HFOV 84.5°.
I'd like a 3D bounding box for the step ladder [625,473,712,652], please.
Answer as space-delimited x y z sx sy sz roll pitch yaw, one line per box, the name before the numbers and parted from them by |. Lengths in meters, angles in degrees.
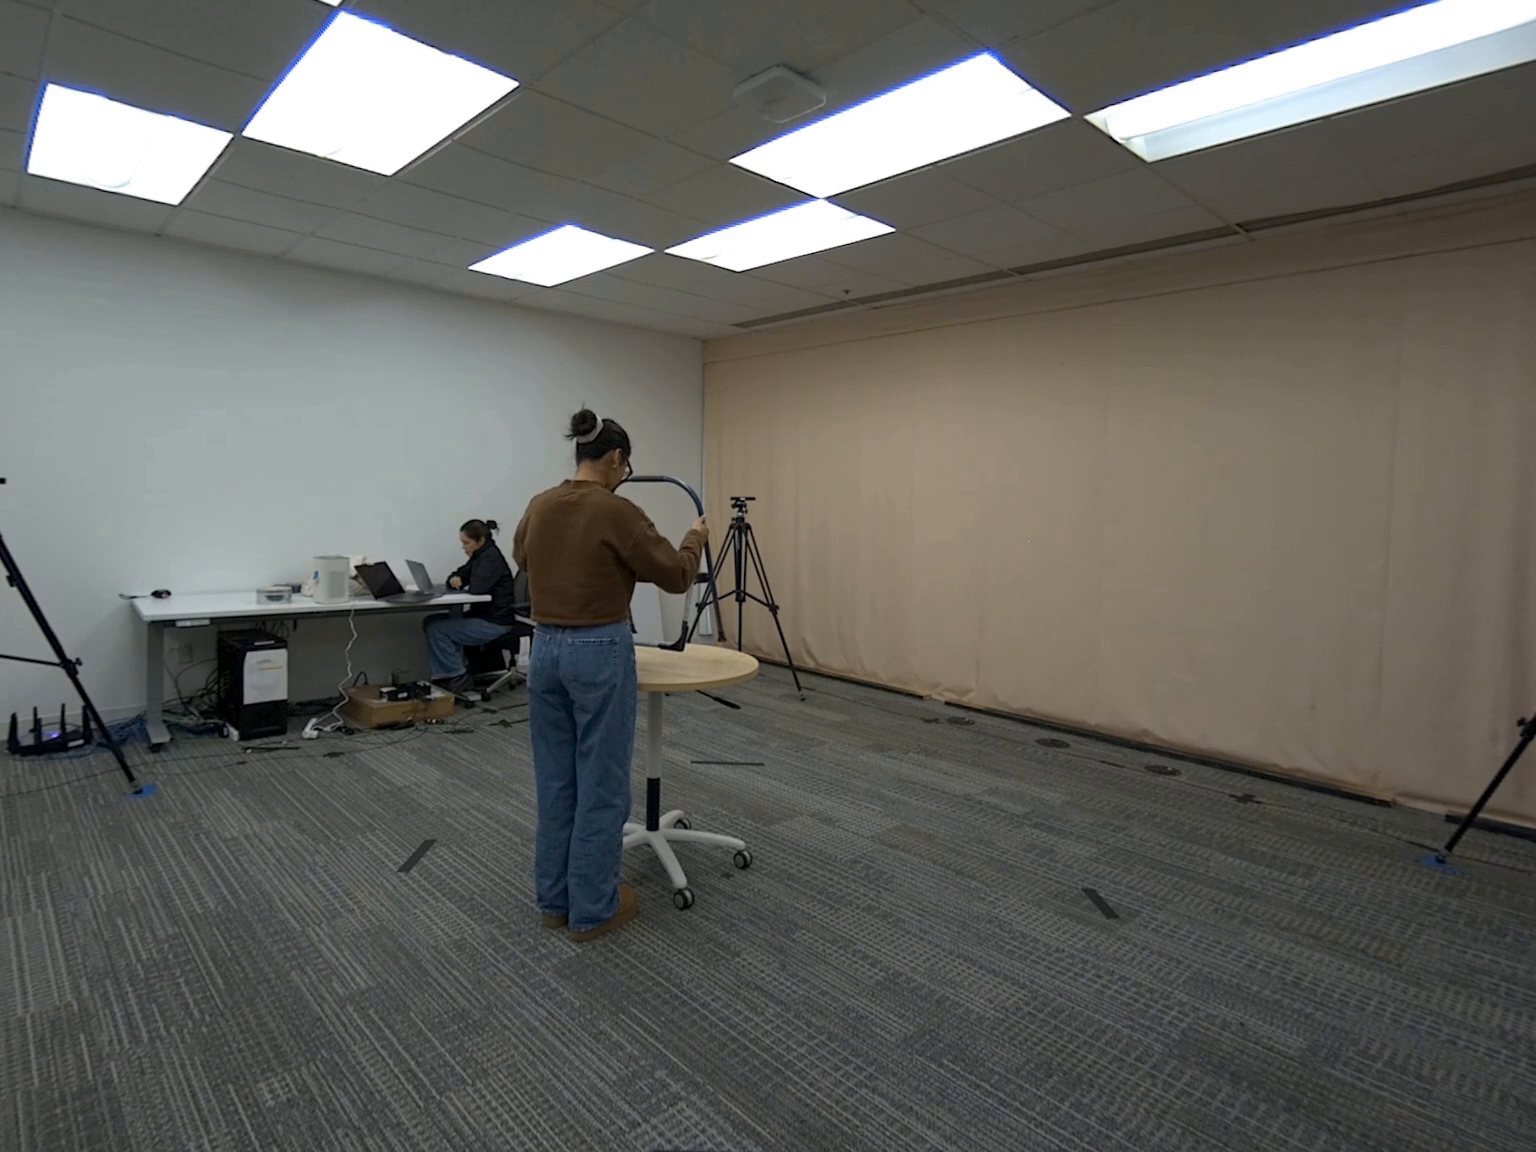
step ladder | -0.412 -0.055 3.088 0.439 0.605 0.343 2 2 25
